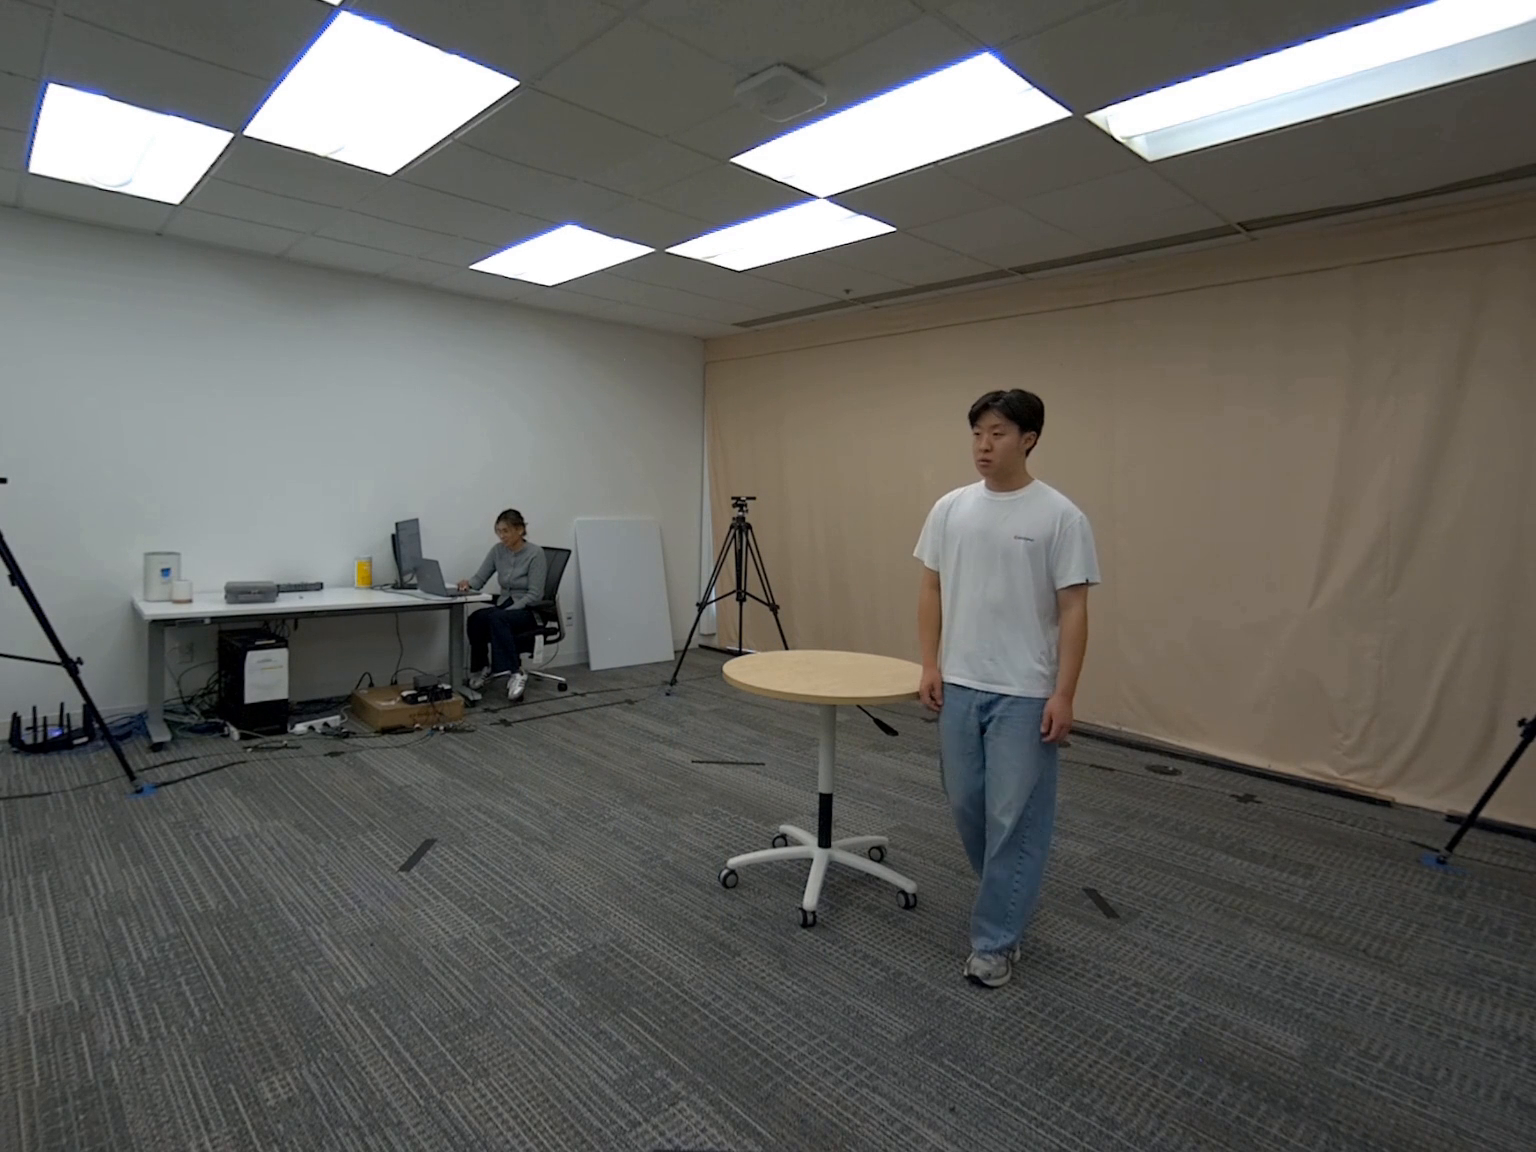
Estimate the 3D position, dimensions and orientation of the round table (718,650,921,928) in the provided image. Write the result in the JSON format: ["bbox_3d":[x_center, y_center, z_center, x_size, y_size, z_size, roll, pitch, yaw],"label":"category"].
[{"bbox_3d":[0.198,0.733,3.031,0.763,0.792,0.767,1,4,-1],"label":"round table"}]
